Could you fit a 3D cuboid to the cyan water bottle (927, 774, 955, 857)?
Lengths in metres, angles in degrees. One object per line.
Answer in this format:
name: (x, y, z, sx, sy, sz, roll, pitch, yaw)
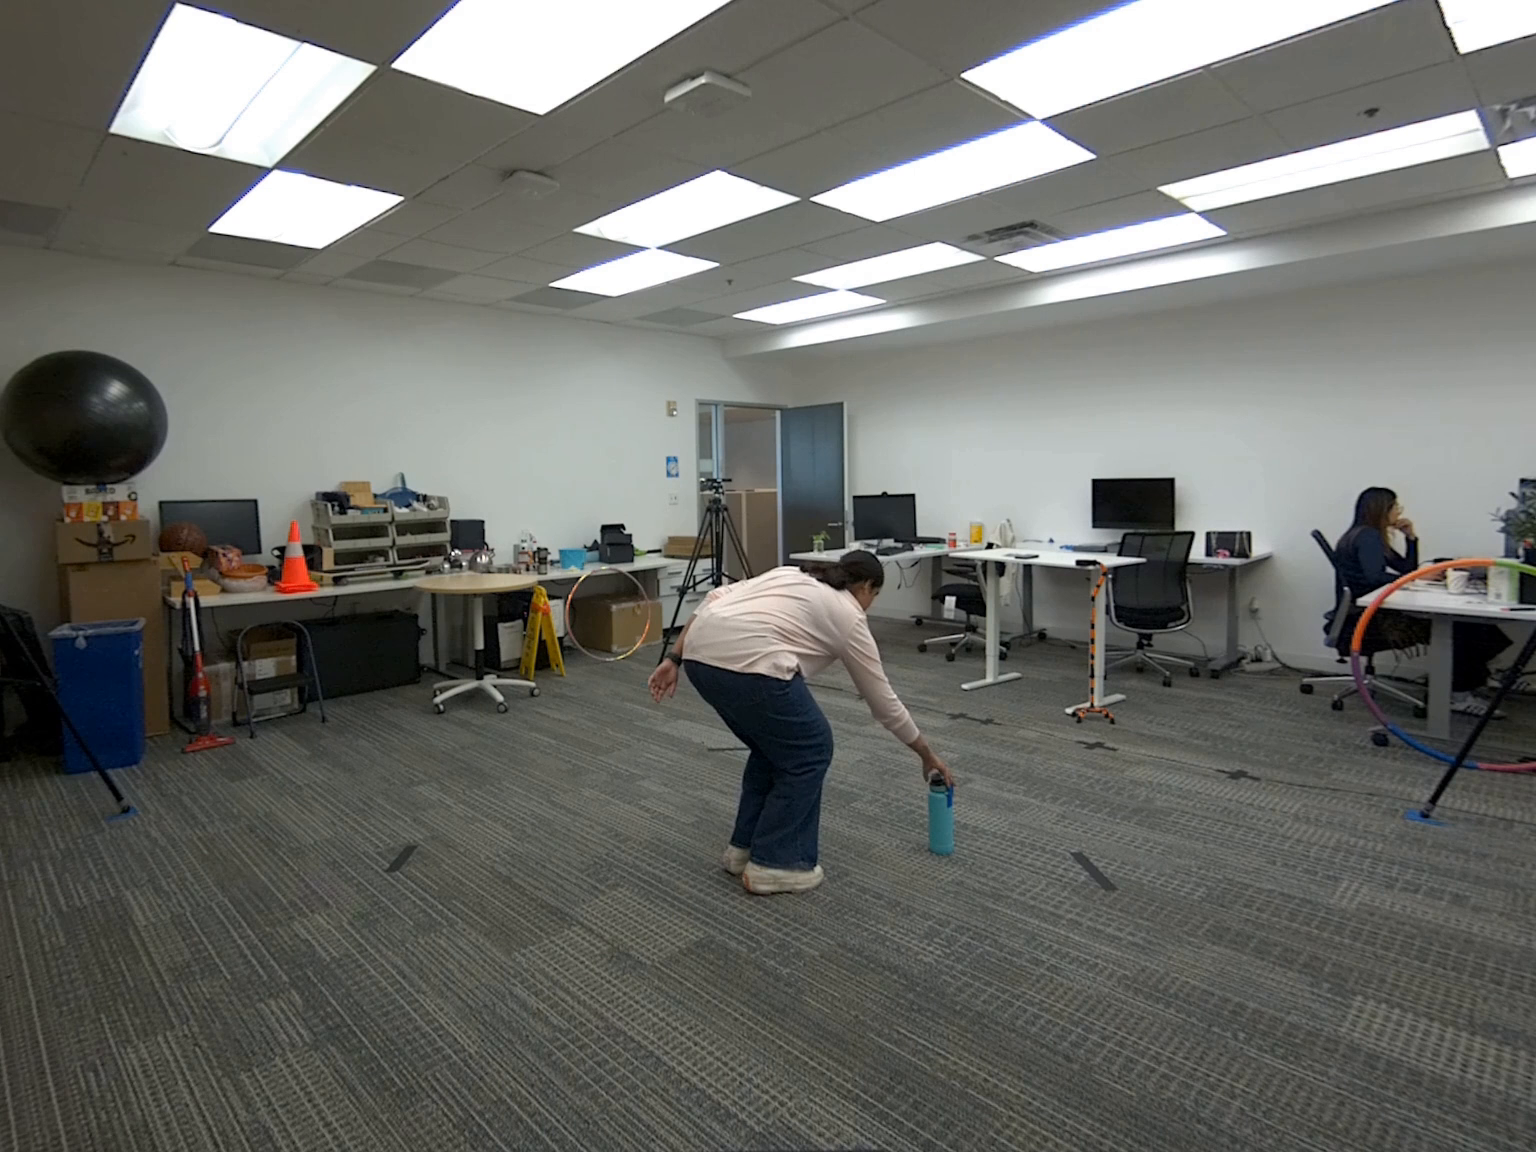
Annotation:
cyan water bottle: (0.641, 0.880, 3.193, 0.092, 0.283, 0.092, -3, 0, -2)
